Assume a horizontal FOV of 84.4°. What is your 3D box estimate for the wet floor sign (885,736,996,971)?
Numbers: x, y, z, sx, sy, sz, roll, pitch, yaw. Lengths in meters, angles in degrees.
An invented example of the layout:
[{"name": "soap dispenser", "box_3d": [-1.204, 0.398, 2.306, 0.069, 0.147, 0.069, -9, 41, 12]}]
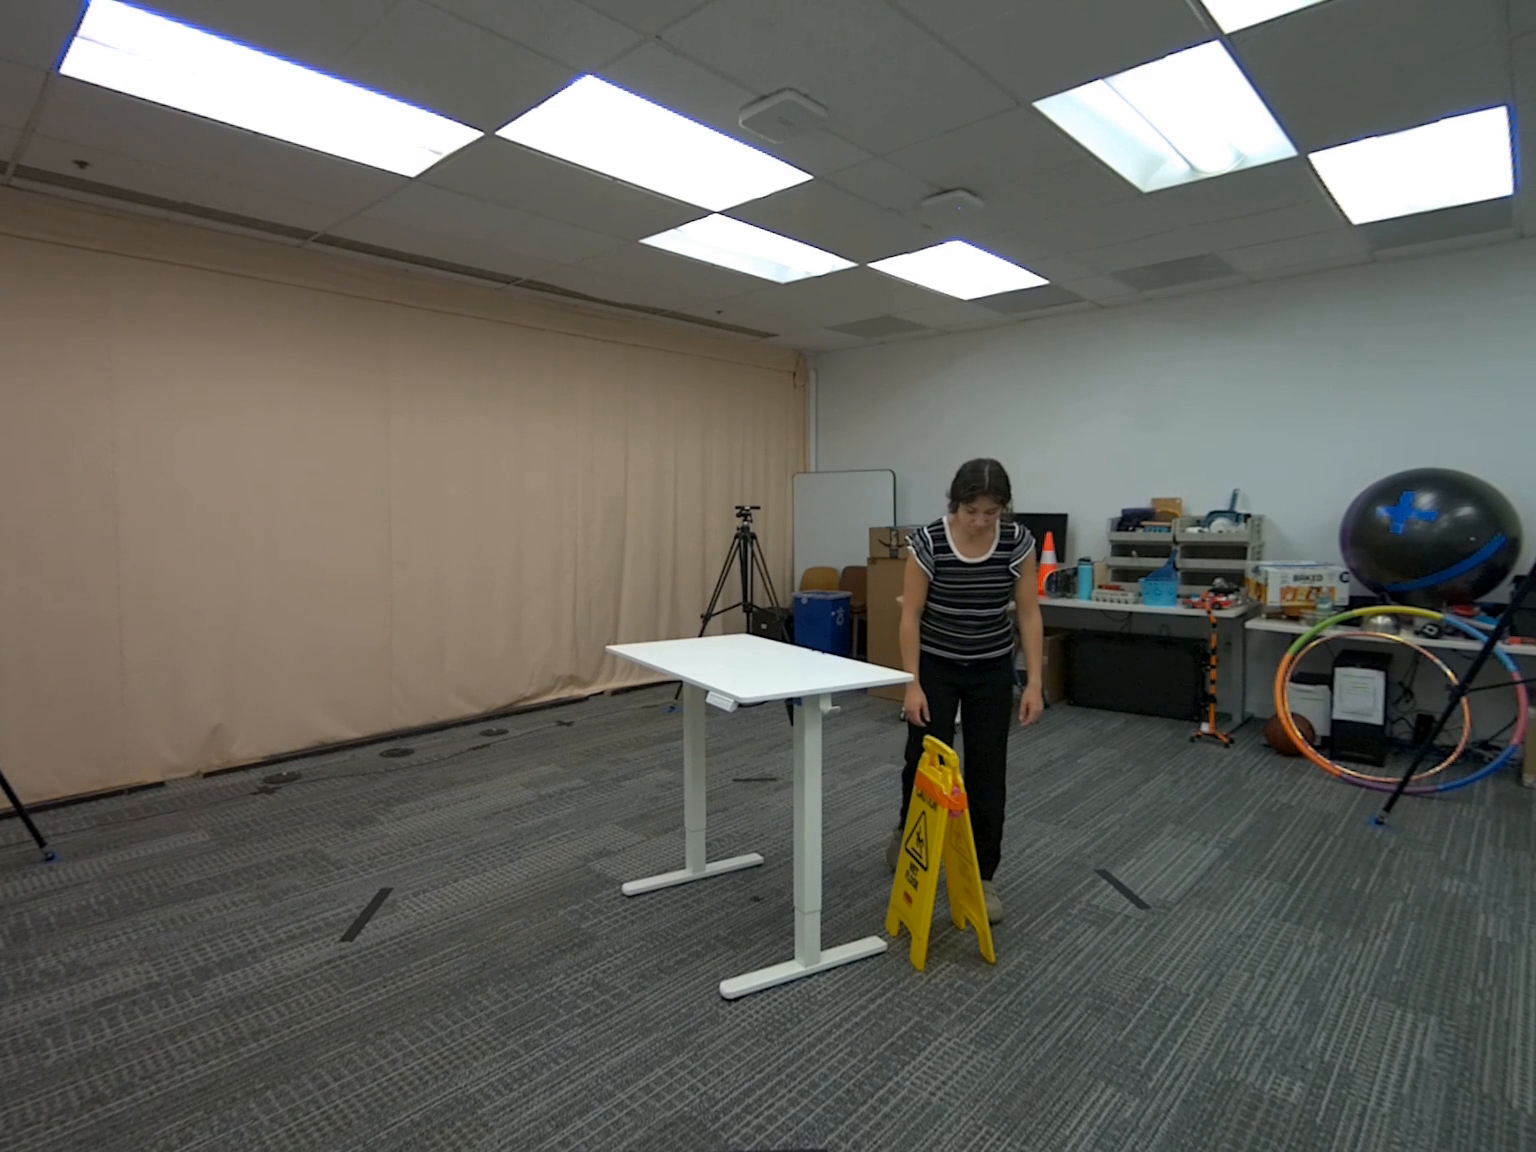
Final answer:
[{"name": "wet floor sign", "box_3d": [0.550, 0.844, 2.643, 0.286, 0.645, 0.286, 0, 3, -12]}]
